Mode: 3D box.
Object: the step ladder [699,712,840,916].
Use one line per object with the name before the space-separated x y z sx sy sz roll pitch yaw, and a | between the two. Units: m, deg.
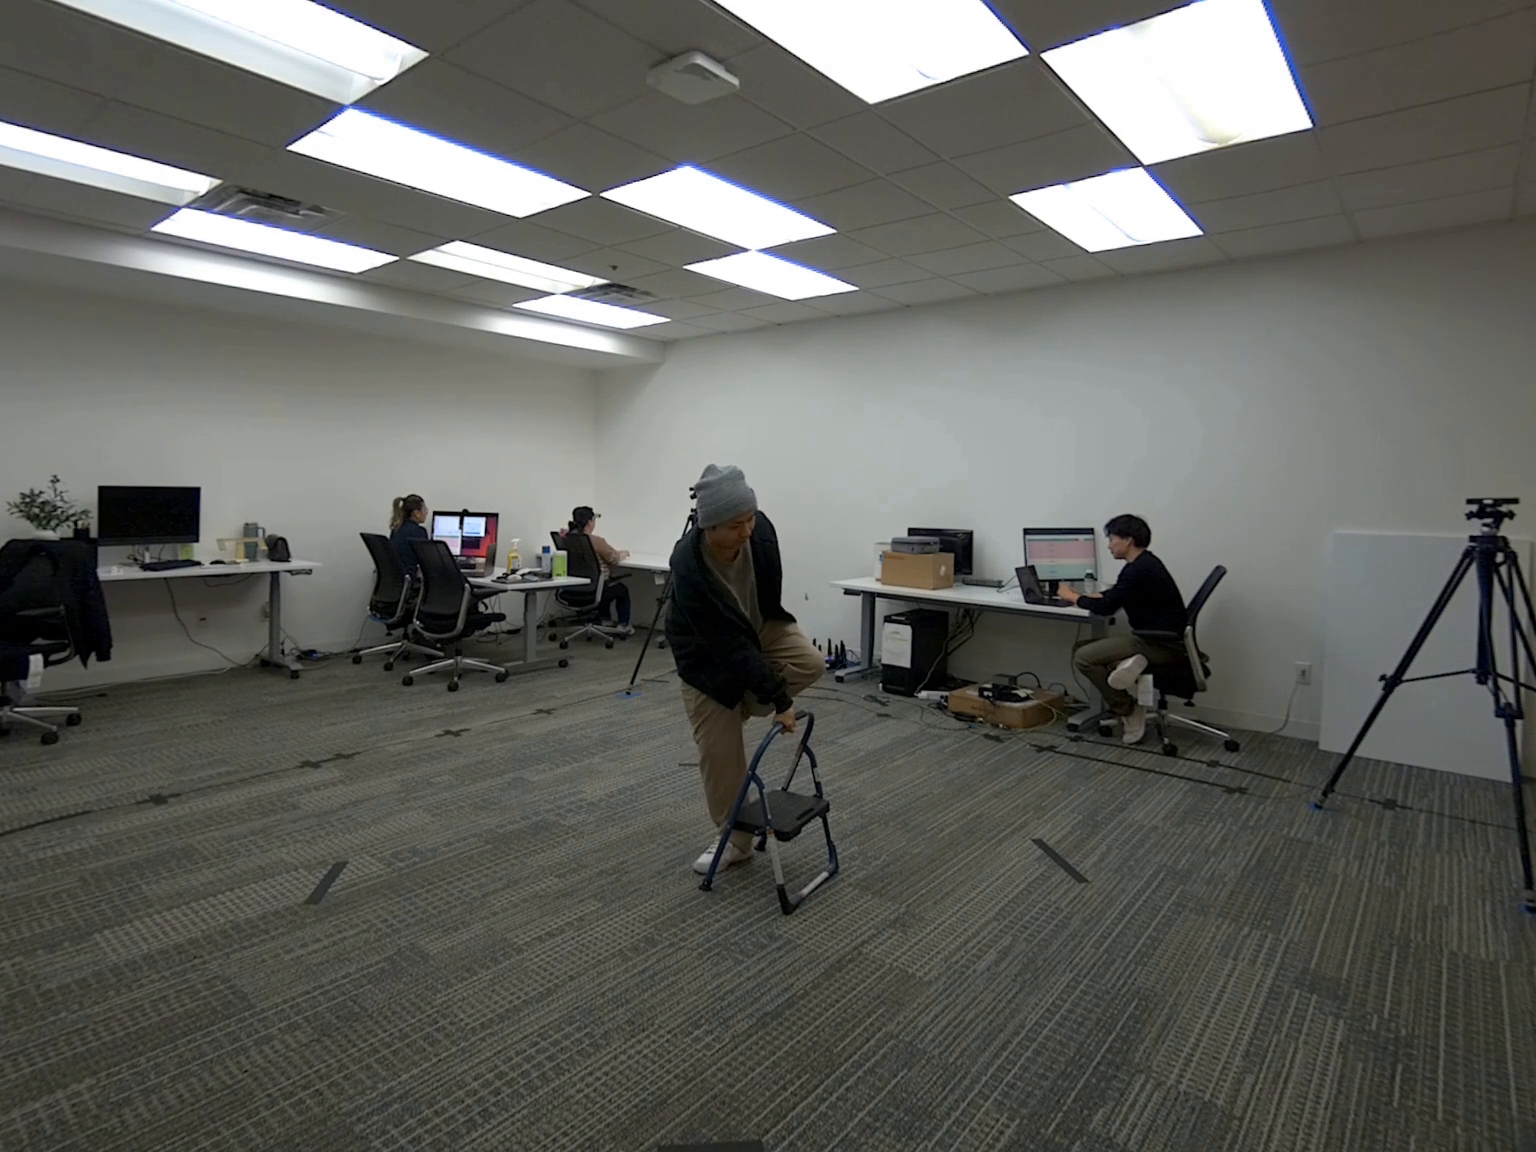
step ladder | 0.016 0.778 3.018 0.359 0.604 0.420 3 4 29
